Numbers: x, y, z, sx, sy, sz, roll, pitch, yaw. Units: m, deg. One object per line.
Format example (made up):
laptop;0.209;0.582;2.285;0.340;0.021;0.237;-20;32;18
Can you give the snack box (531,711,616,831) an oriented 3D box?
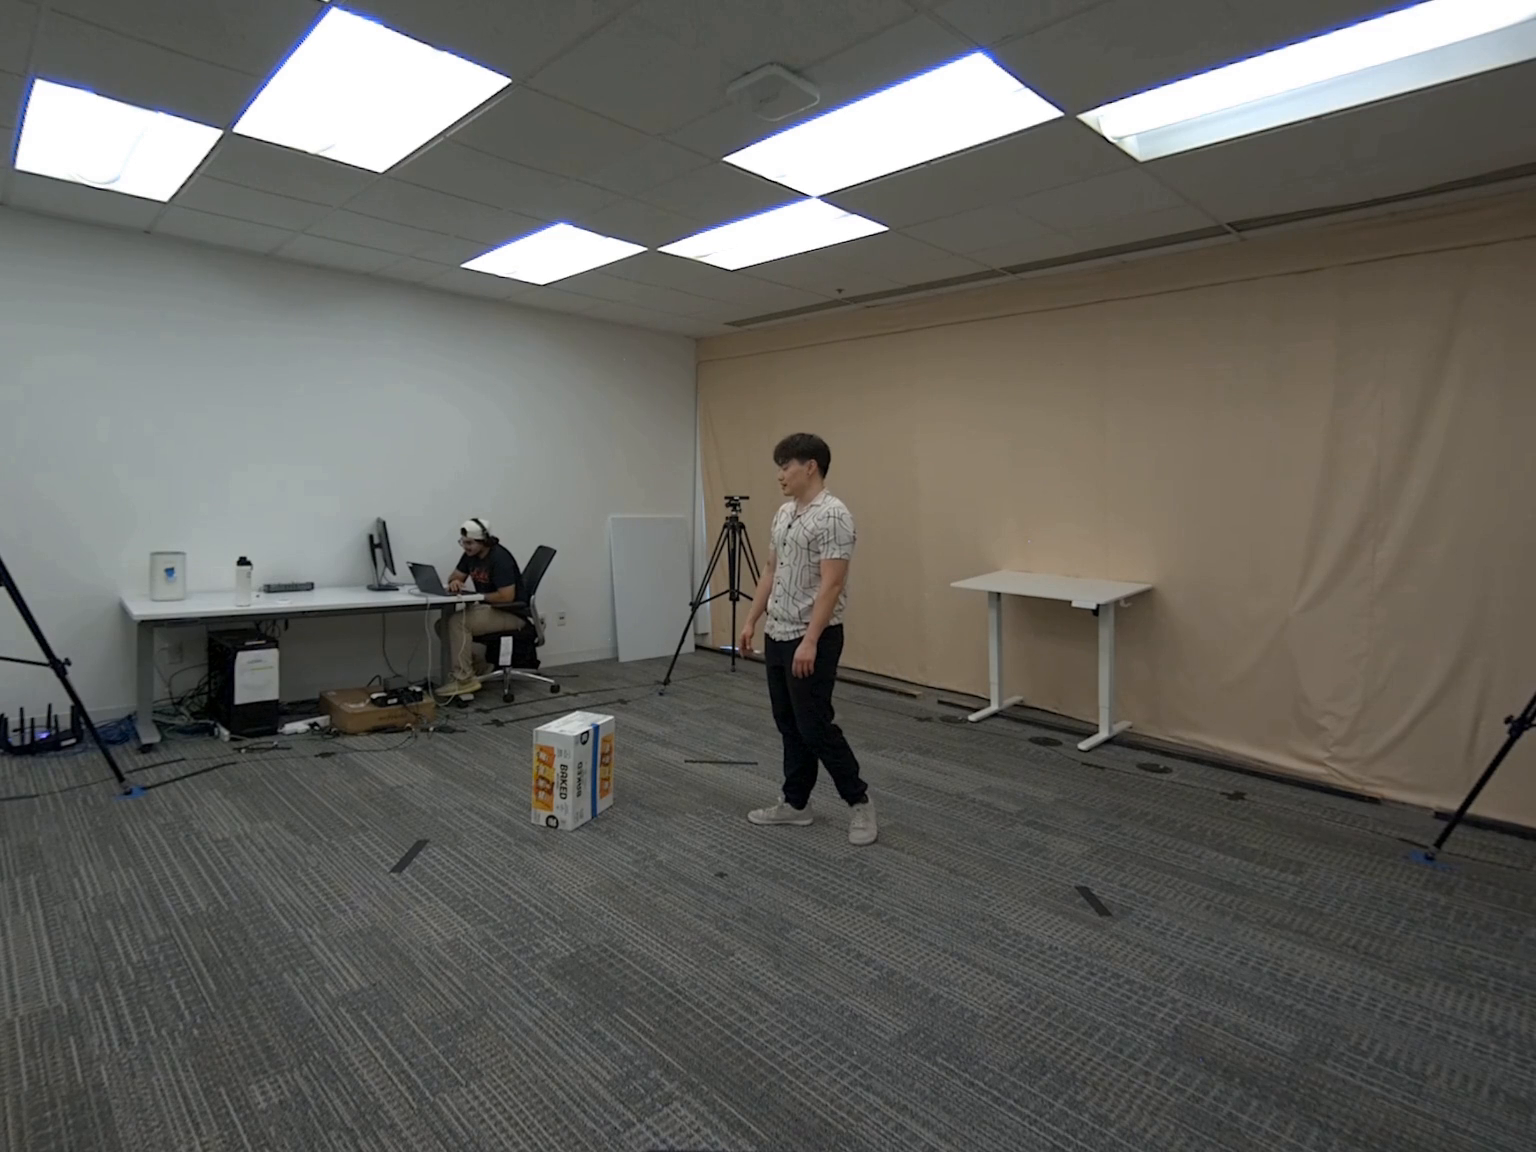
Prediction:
snack box;-0.848;0.834;3.652;0.209;0.404;0.336;3;4;20
